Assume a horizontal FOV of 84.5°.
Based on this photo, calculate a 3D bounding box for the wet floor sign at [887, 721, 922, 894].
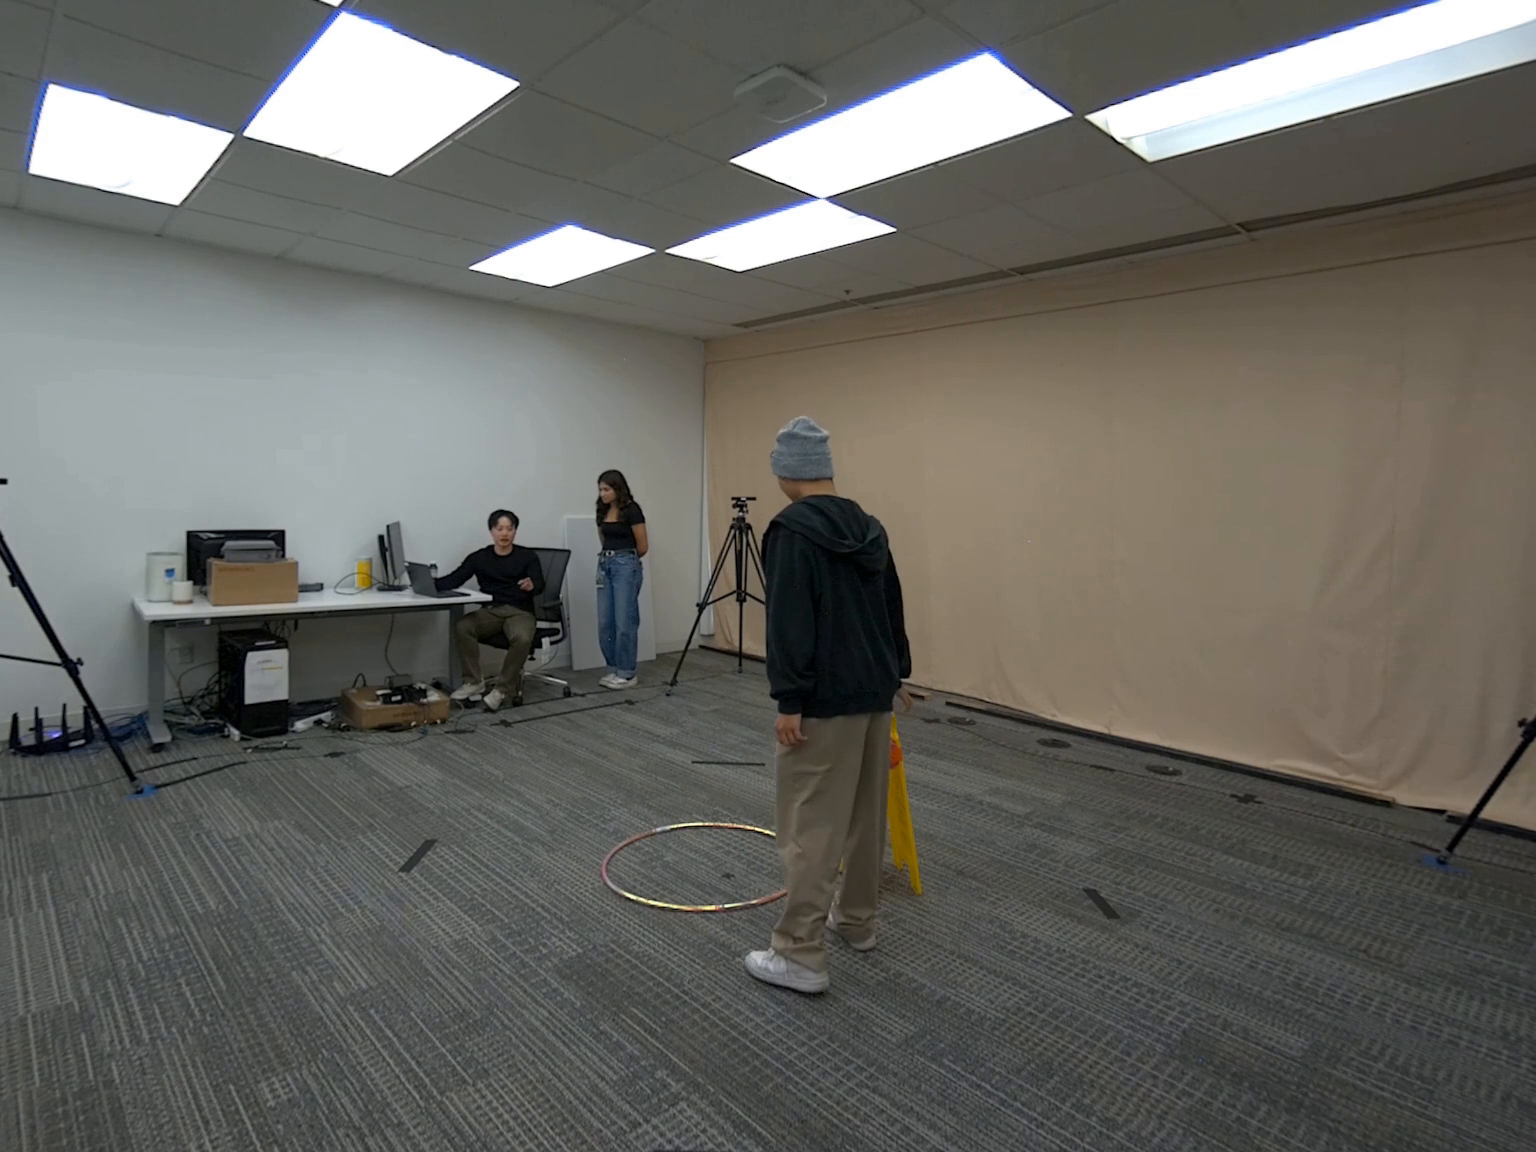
[{"bbox_3d":[0.404,0.799,3.079,0.288,0.644,0.285,1,3,-9],"label":"wet floor sign"}]
